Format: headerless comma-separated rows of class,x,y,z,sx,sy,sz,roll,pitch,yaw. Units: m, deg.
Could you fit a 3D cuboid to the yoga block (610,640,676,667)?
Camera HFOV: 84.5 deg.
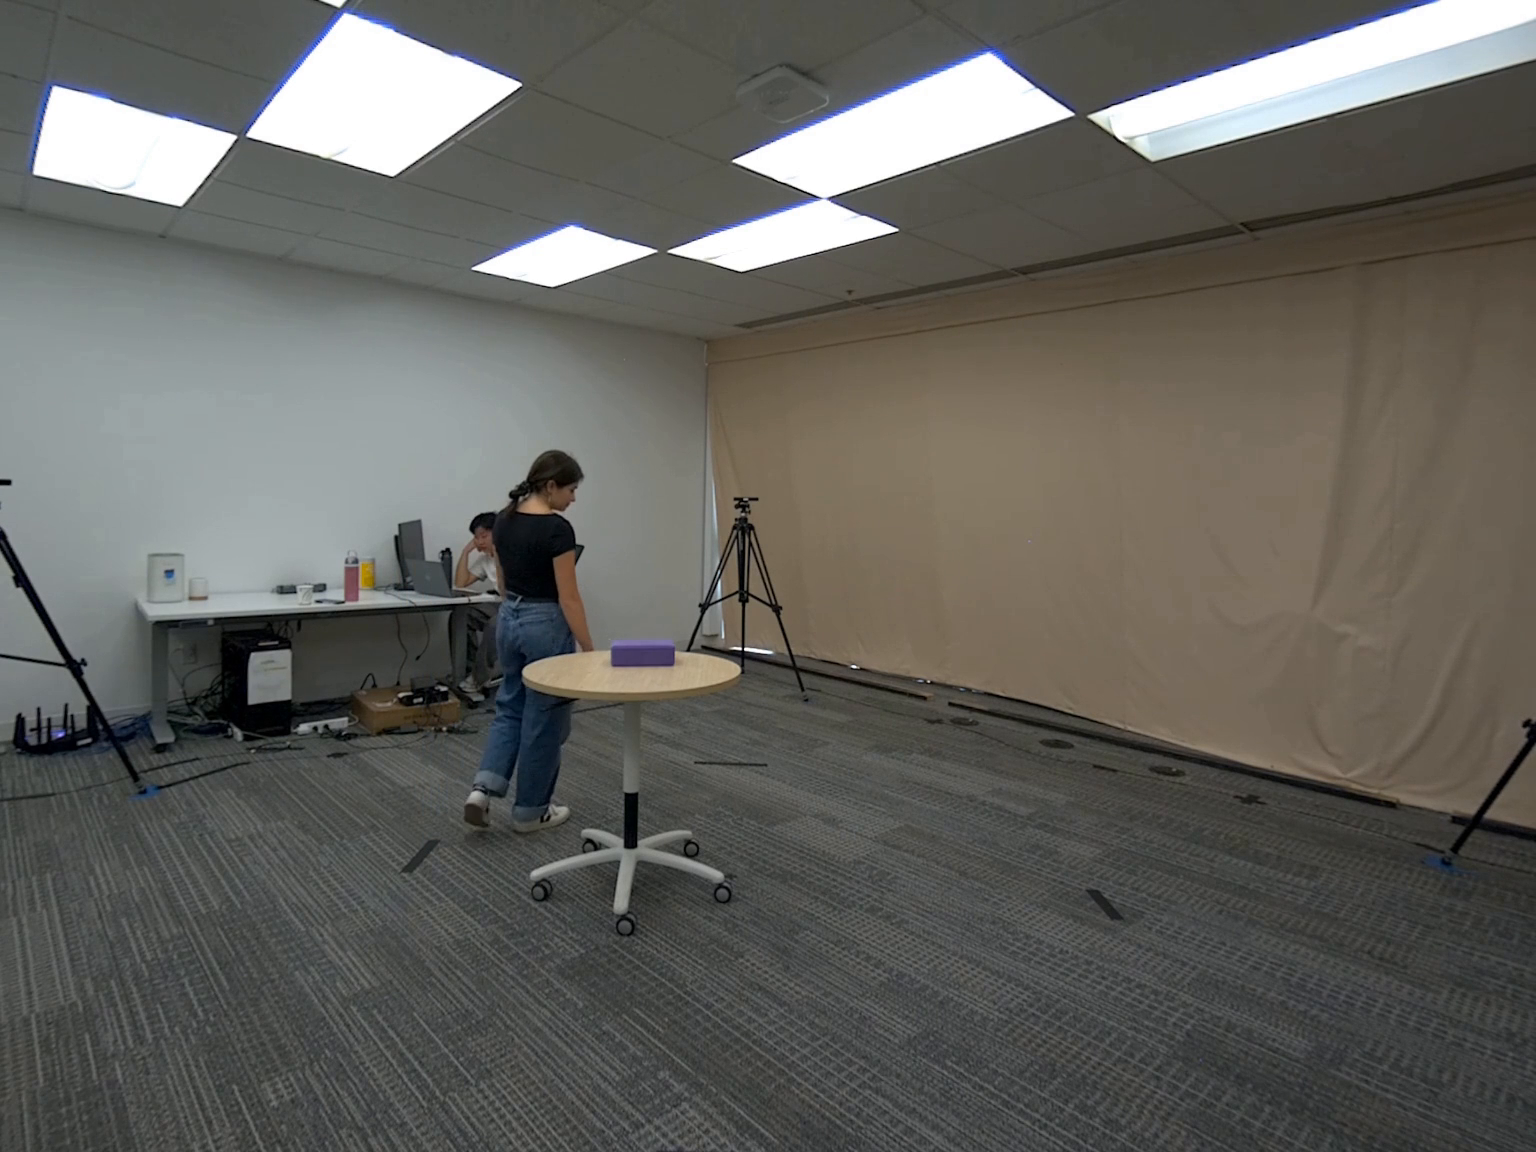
yoga block,-0.470,0.287,3.079,0.228,0.076,0.150,0,5,-8
